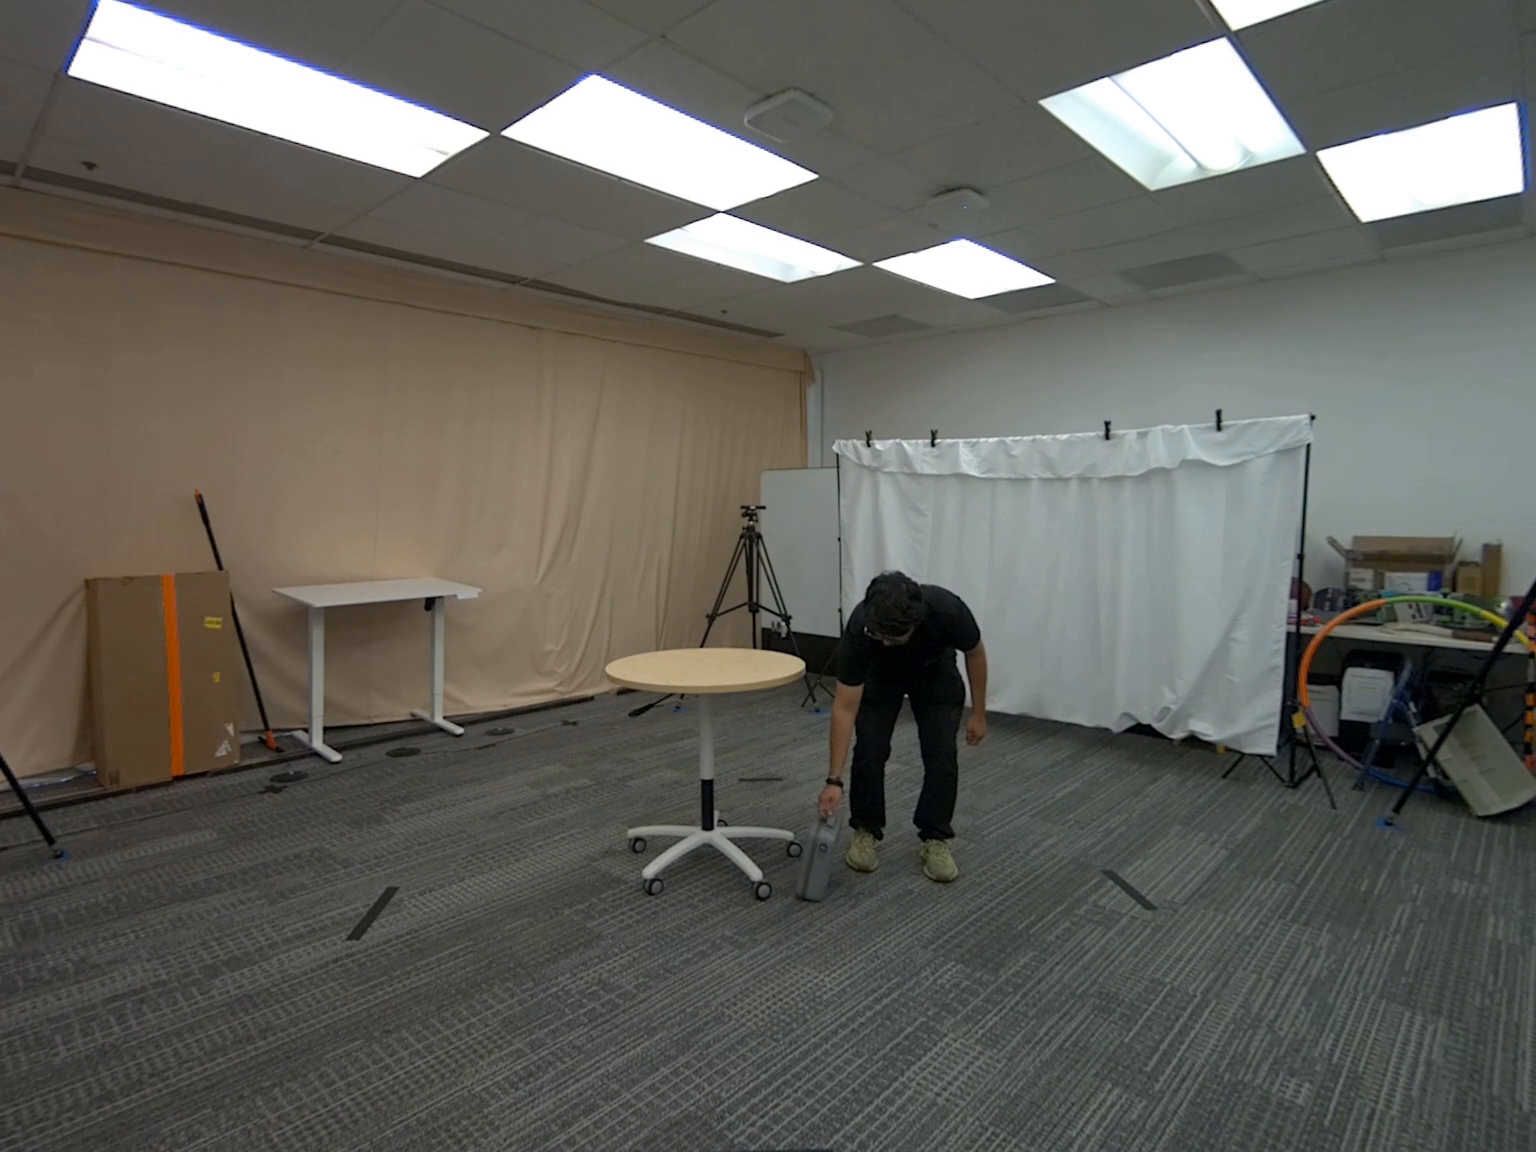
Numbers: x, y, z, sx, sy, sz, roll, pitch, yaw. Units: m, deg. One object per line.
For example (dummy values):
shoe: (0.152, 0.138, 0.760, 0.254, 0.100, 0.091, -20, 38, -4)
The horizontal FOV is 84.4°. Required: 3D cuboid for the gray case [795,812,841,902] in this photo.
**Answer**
gray case: (0.191, 1.003, 3.057, 0.106, 0.260, 0.253, 12, 7, 13)
